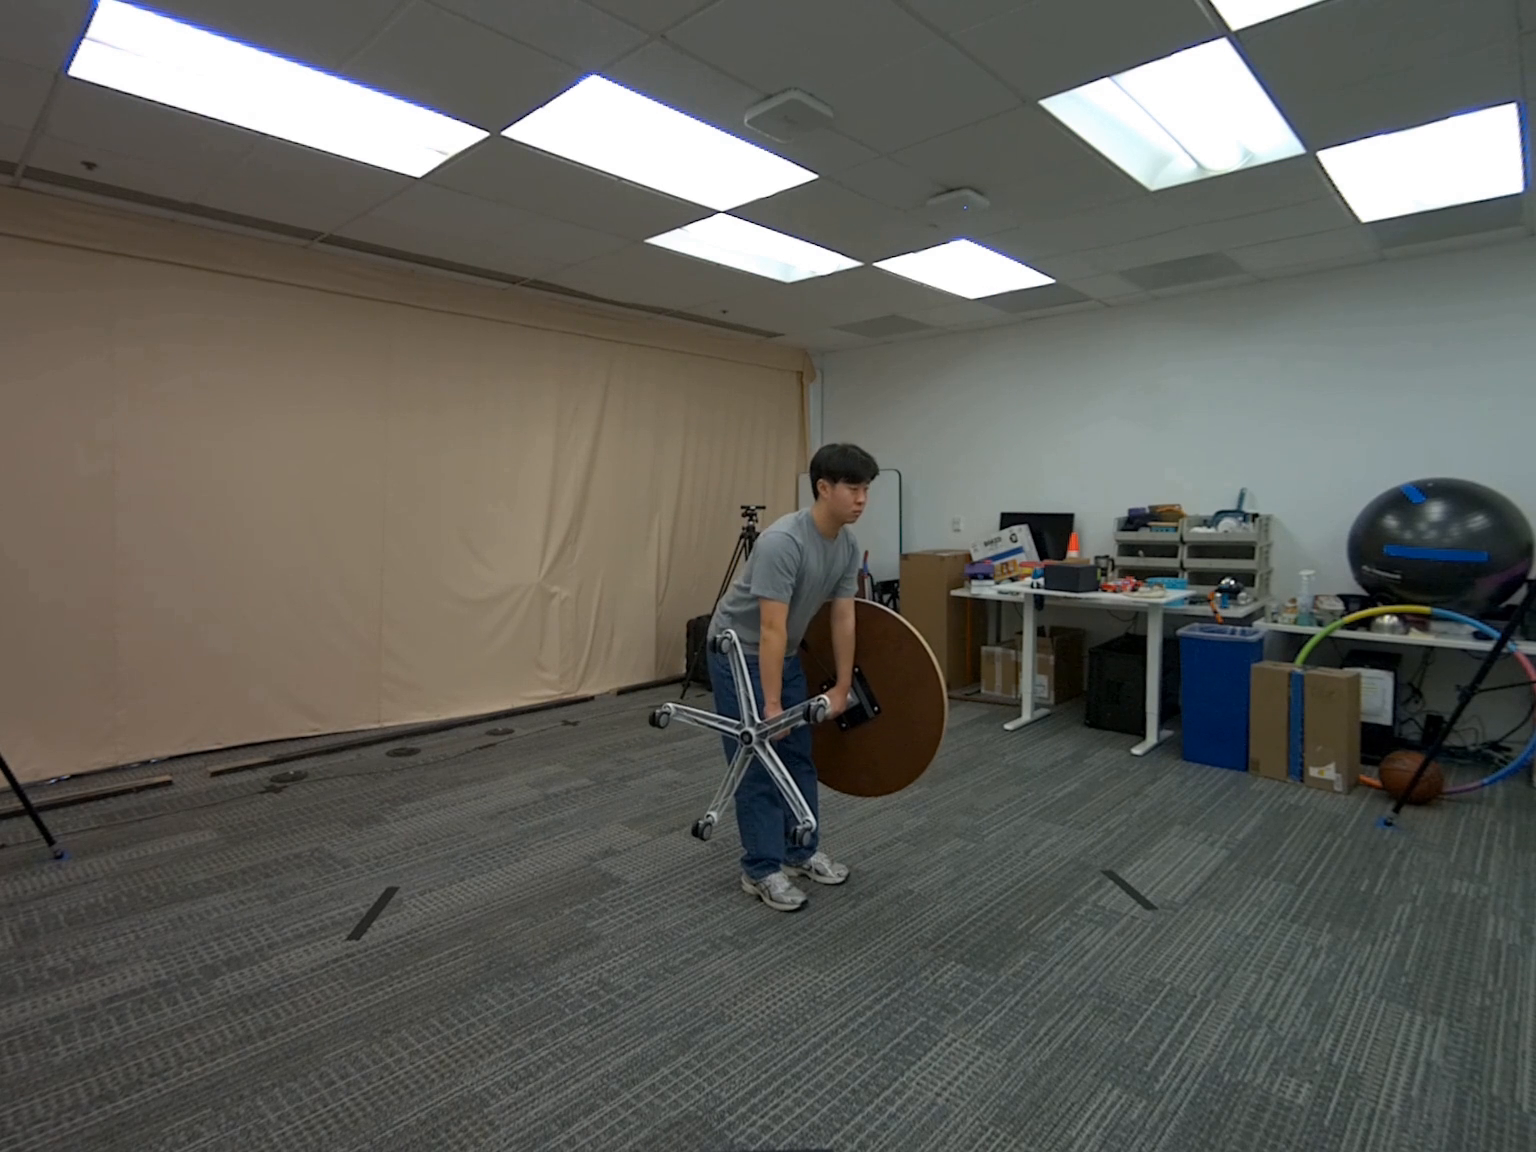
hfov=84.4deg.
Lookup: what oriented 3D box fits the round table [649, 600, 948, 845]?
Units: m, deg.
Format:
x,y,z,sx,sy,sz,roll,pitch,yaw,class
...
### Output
x,y,z,sx,sy,sz,roll,pitch,yaw,class
0.117,0.507,2.948,0.788,0.762,0.771,3,6,36,round table
